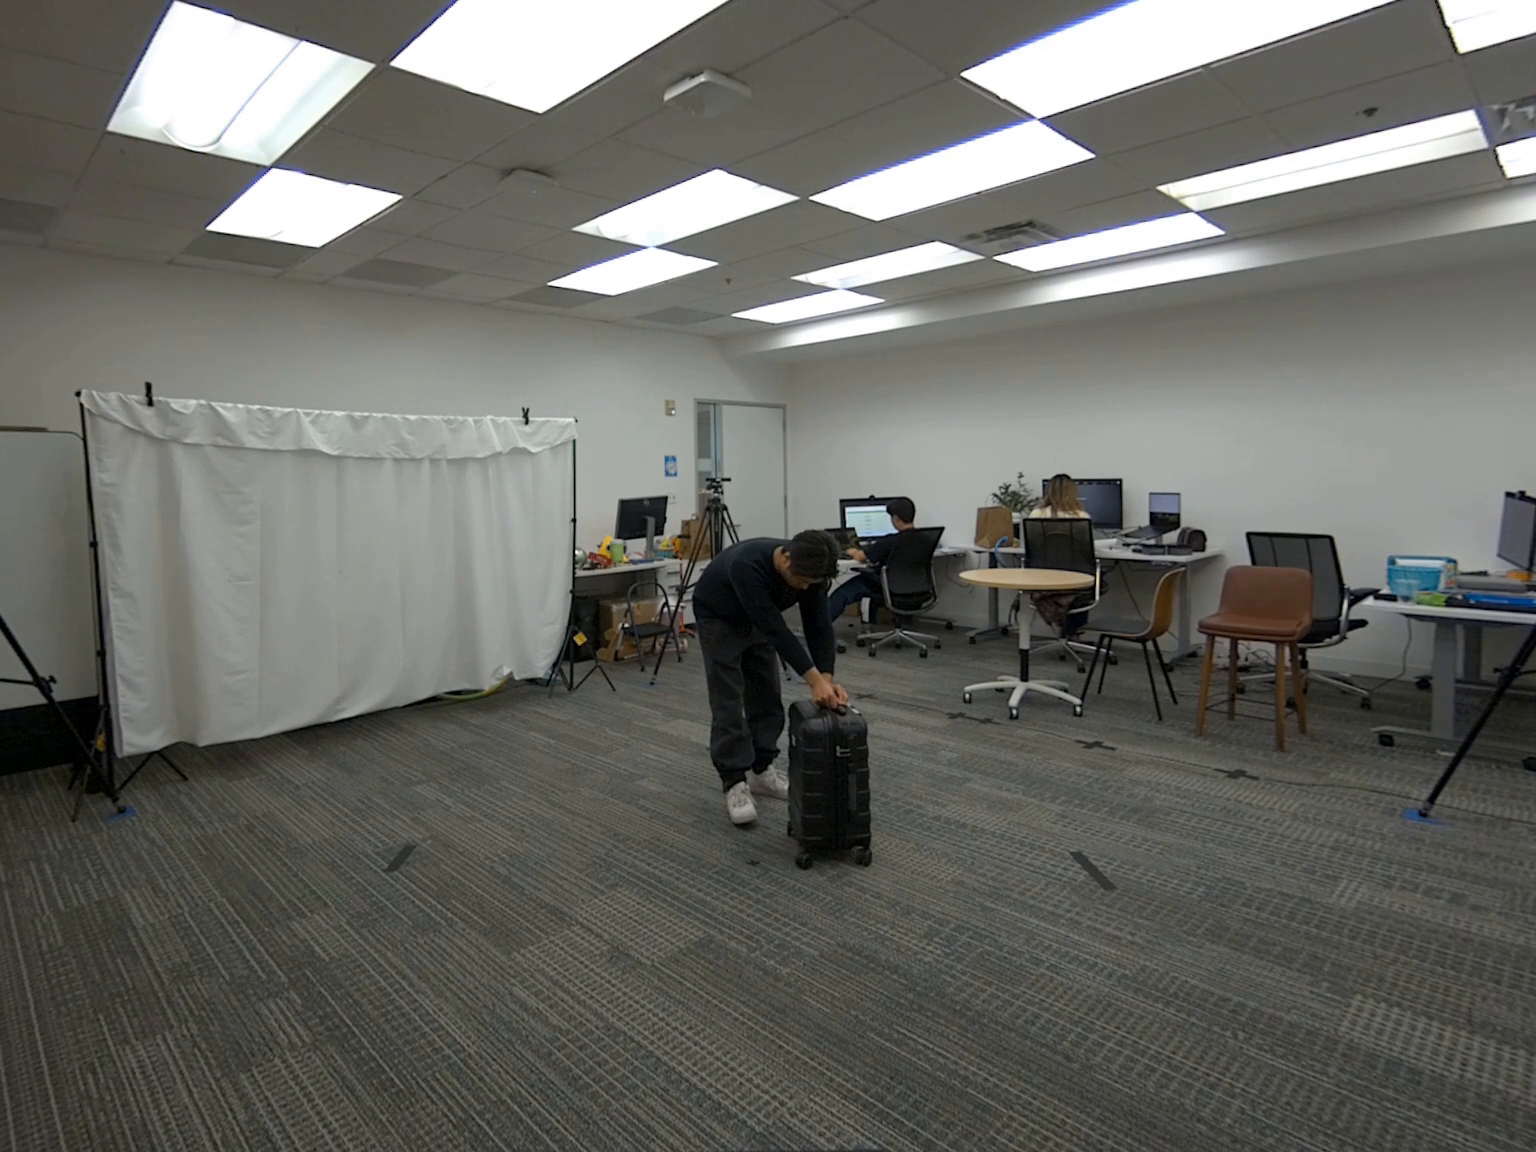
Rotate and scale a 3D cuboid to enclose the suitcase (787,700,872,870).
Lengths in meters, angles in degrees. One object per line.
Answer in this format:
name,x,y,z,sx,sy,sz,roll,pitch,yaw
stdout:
suitcase,0.233,0.751,3.211,0.246,0.548,0.379,-2,3,-9
